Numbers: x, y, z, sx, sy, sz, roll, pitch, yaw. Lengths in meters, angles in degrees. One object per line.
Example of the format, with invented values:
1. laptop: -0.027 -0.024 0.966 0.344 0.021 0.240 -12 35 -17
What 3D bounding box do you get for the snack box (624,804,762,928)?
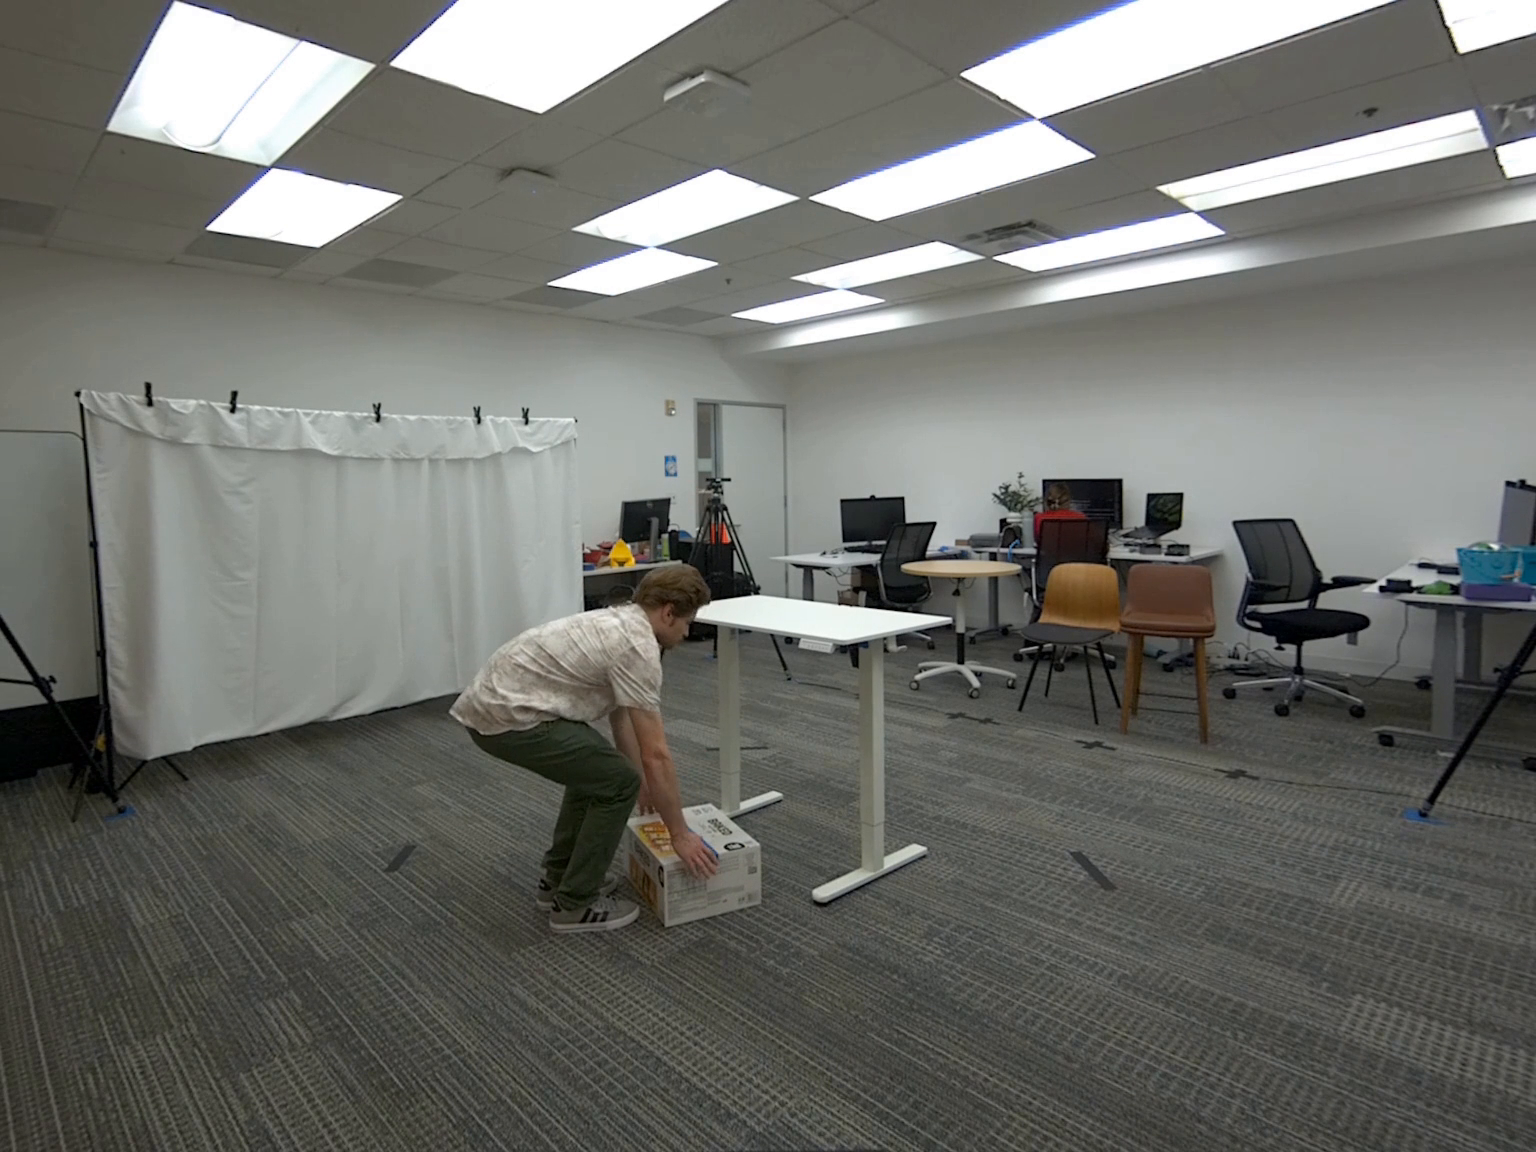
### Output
1. snack box: -0.262 0.969 2.903 0.333 0.205 0.416 -4 7 -26
